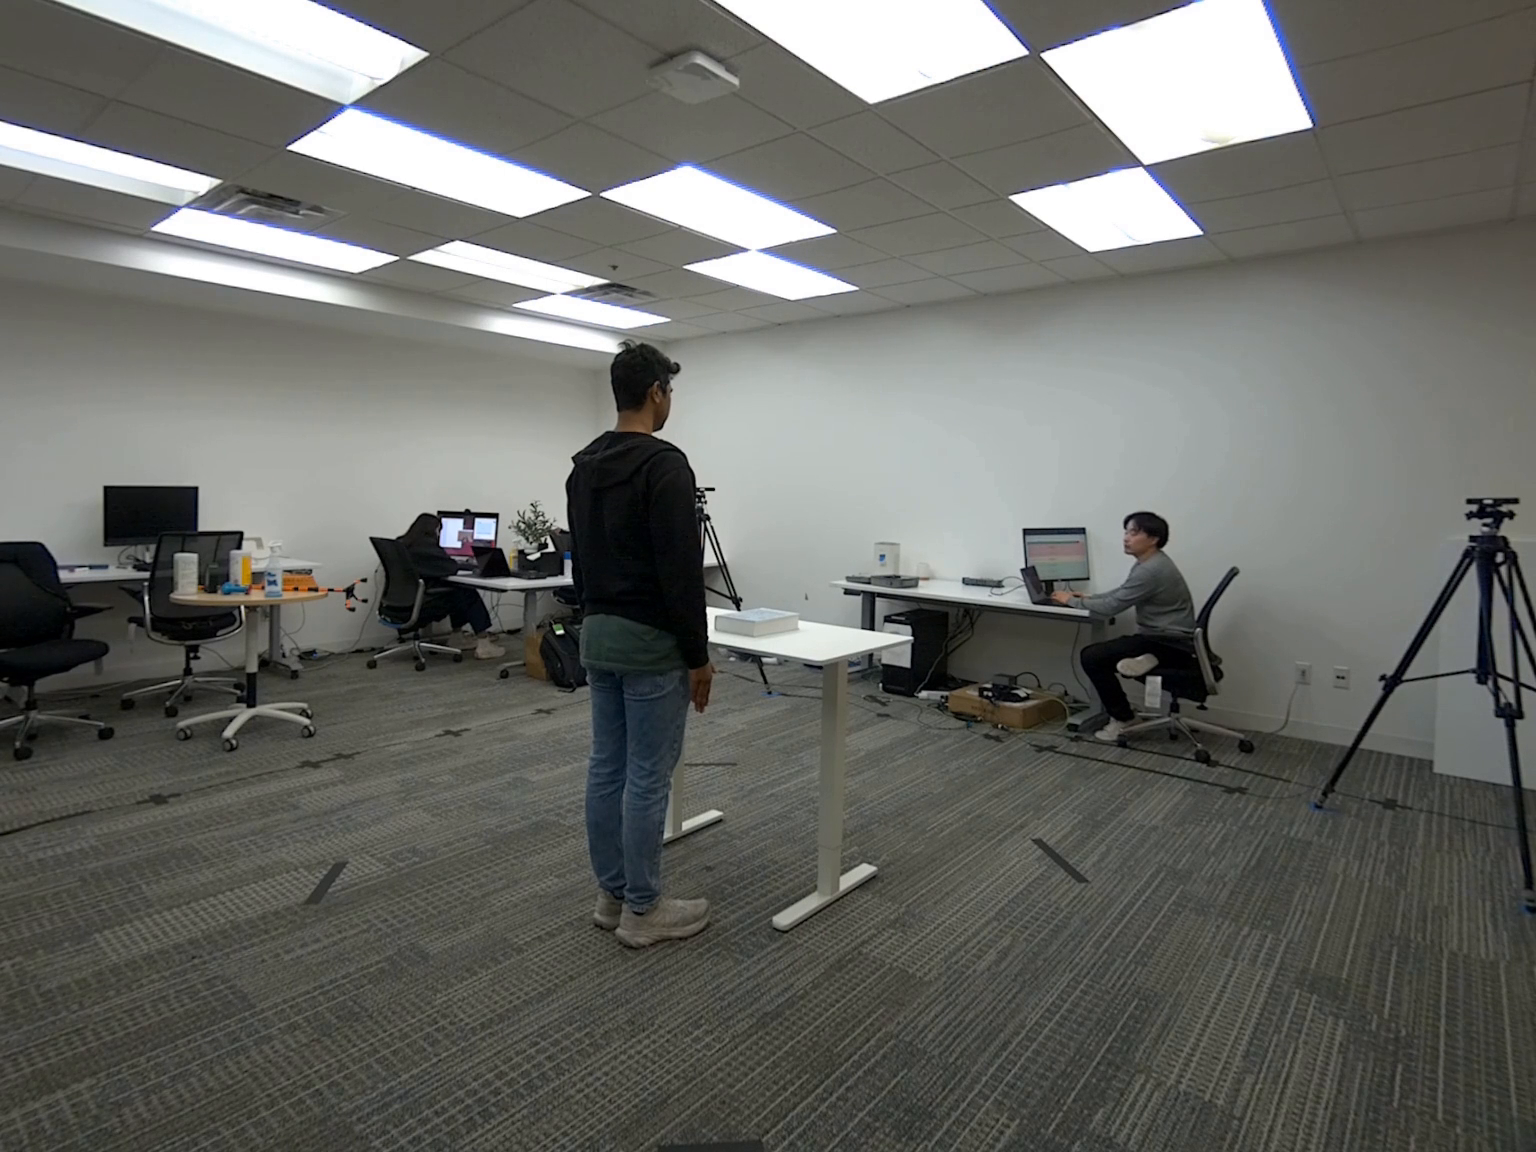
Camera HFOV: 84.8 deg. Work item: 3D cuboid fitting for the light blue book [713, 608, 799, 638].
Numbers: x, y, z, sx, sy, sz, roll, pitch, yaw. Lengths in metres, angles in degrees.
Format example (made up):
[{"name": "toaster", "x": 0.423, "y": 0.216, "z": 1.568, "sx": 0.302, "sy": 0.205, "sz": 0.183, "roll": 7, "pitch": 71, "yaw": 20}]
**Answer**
[{"name": "light blue book", "x": -0.040, "y": 0.165, "z": 3.065, "sx": 0.198, "sy": 0.059, "sz": 0.253, "roll": 5, "pitch": 7, "yaw": 39}]
